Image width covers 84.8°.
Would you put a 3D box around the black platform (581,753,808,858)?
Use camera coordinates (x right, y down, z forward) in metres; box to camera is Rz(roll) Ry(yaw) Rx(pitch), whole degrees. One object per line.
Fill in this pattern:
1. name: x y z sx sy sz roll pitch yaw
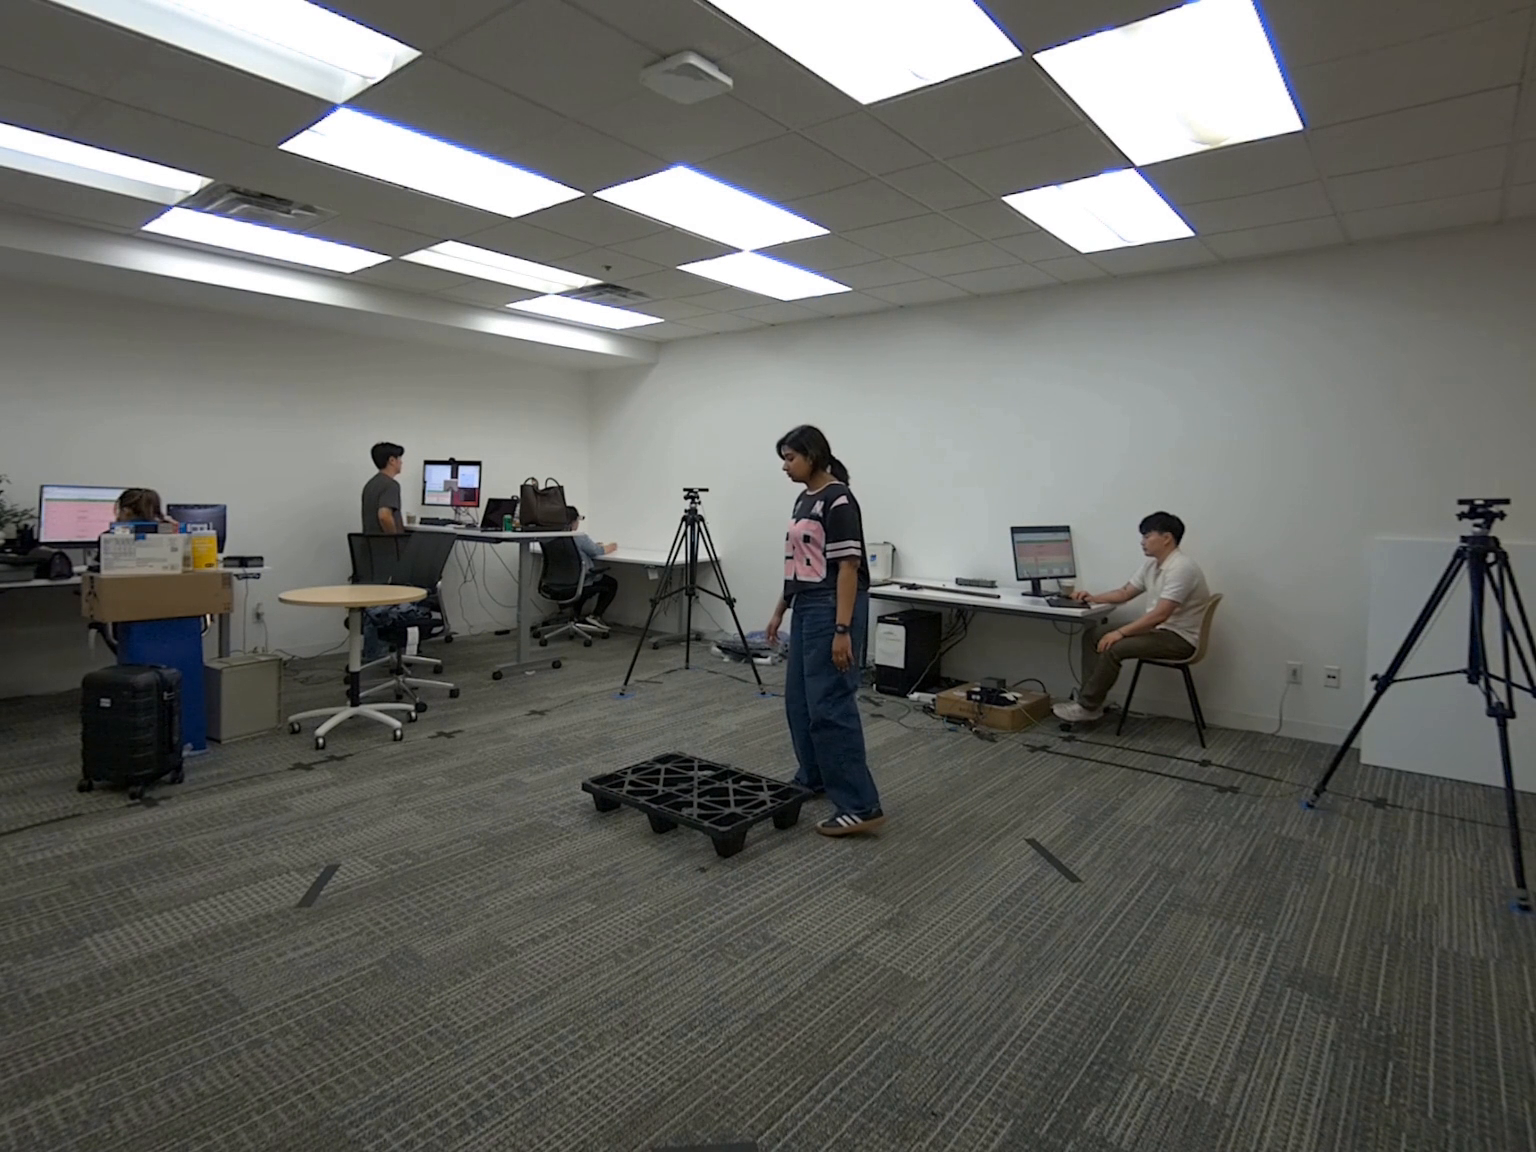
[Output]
1. black platform: -0.320 0.954 3.603 0.832 0.143 0.588 5 7 38
